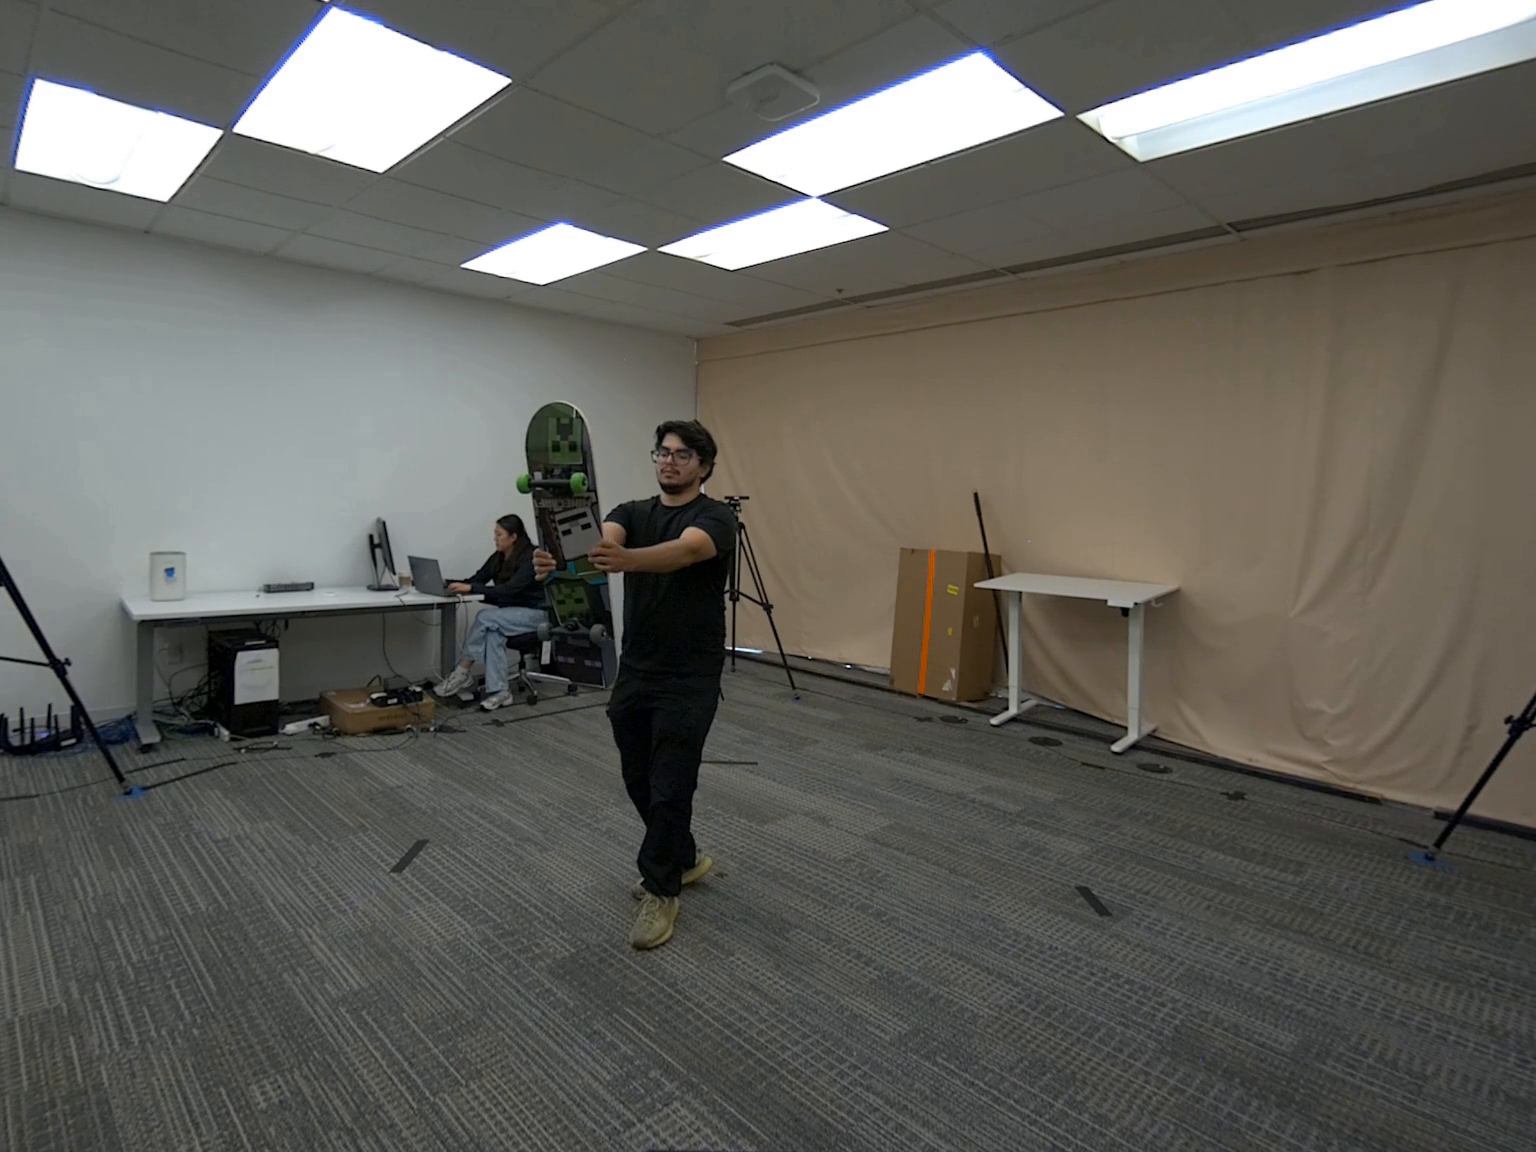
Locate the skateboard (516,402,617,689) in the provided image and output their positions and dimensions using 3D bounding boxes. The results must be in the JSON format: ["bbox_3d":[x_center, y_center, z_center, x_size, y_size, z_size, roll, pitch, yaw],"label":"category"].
[{"bbox_3d":[-0.517,-0.046,2.180,0.196,0.776,0.110,1,15,18],"label":"skateboard"}]
